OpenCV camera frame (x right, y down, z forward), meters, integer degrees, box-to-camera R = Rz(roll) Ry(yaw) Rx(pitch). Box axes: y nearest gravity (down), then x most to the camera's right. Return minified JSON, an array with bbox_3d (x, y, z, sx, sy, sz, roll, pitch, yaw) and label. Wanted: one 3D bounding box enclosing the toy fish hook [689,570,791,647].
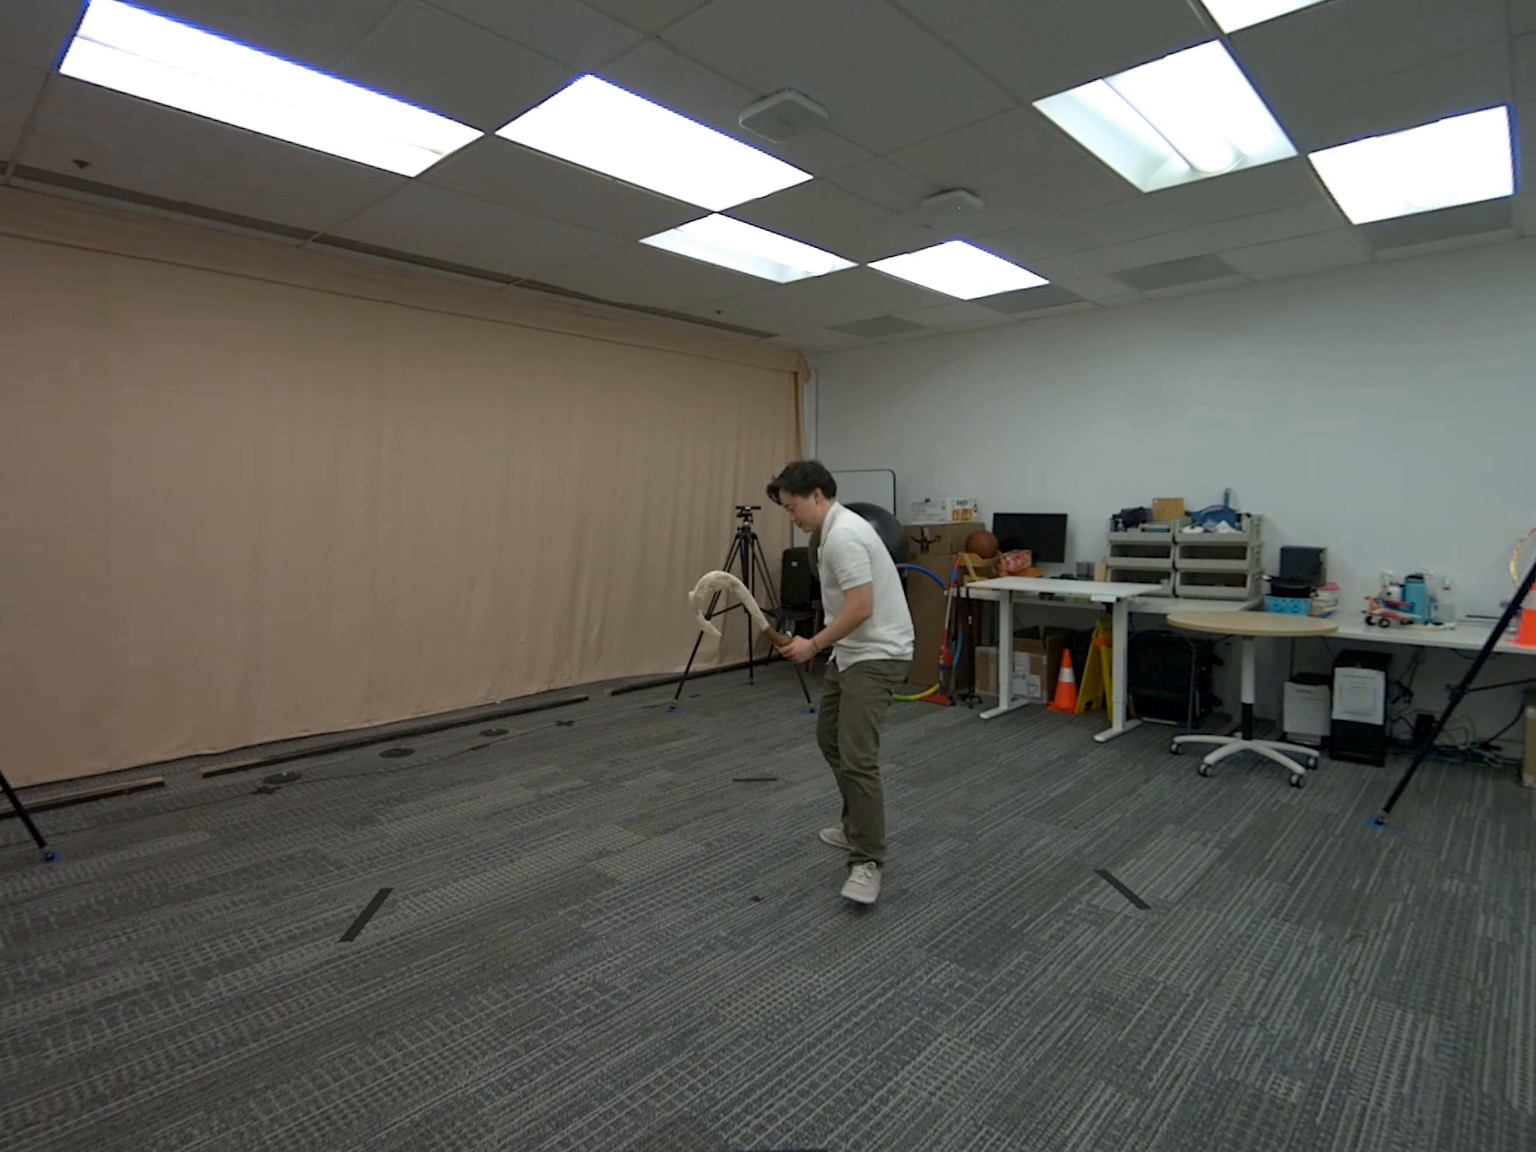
[{"bbox_3d":[-0.078,0.225,3.094,0.501,0.224,0.049,40,-1,-9],"label":"toy fish hook"}]
